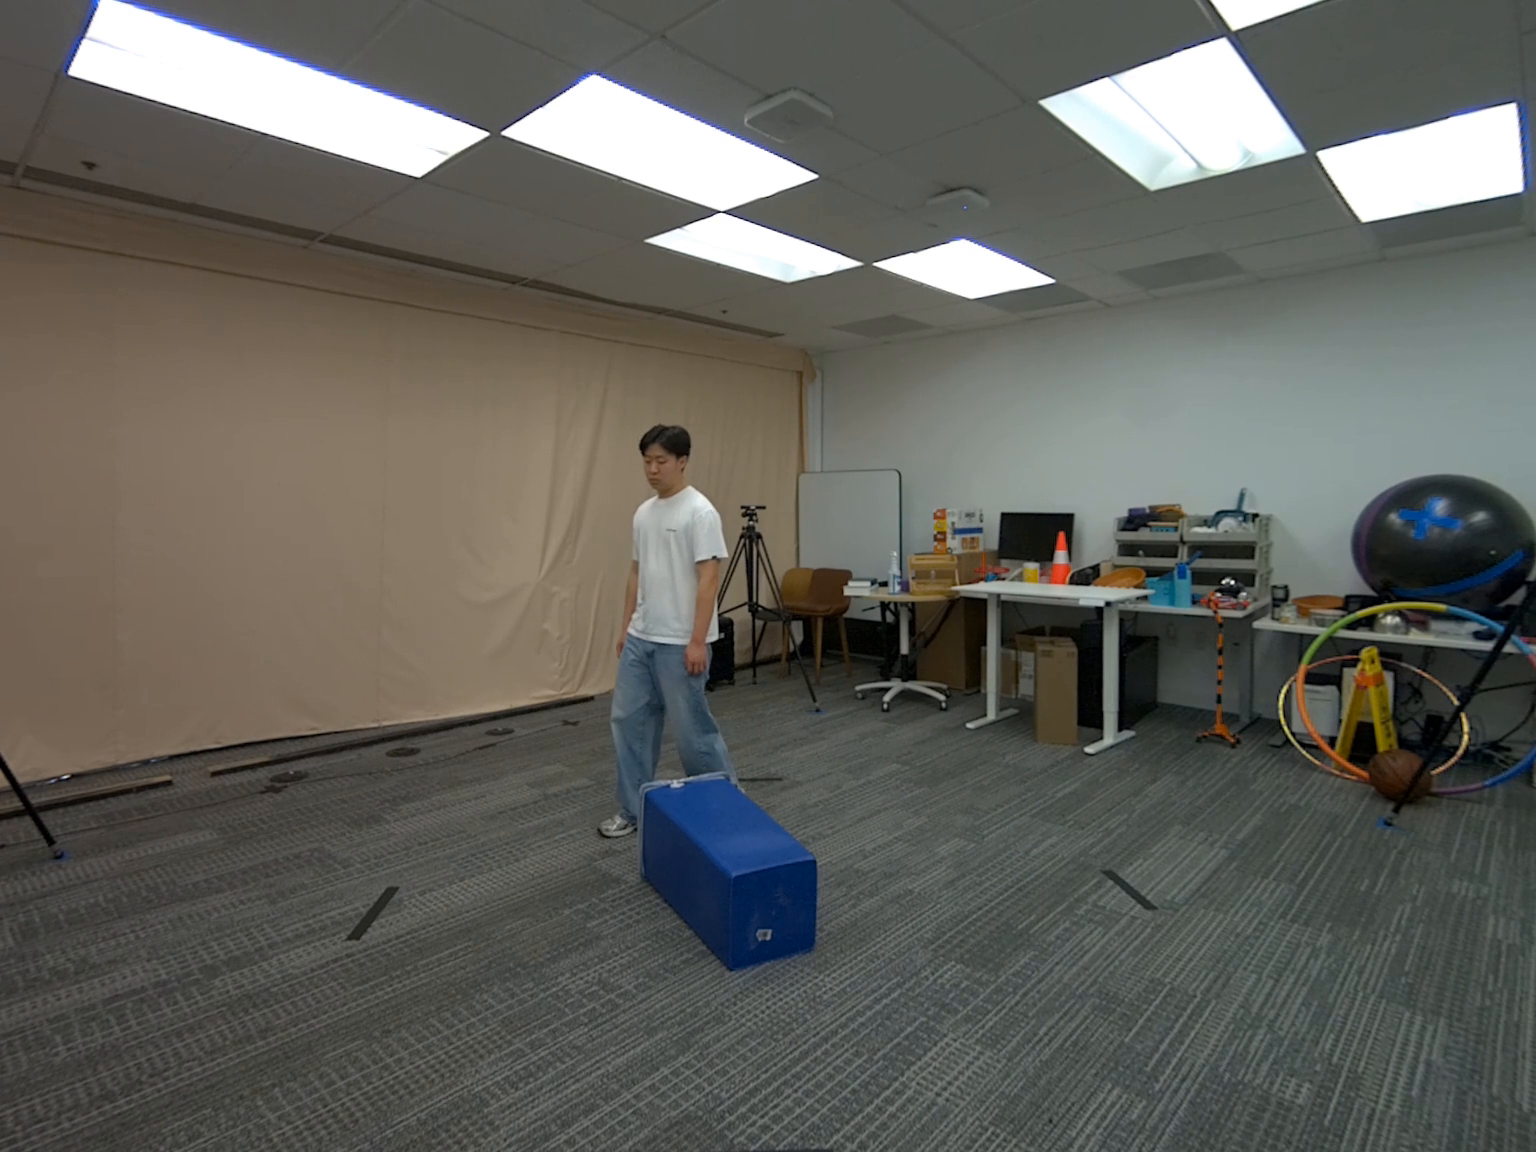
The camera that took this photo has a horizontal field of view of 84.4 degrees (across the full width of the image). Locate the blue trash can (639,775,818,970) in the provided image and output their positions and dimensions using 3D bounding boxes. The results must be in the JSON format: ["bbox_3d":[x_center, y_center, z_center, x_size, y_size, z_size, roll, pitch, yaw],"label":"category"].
[{"bbox_3d":[-0.141,0.986,2.881,0.364,0.377,0.734,-2,7,-28],"label":"blue trash can"}]
